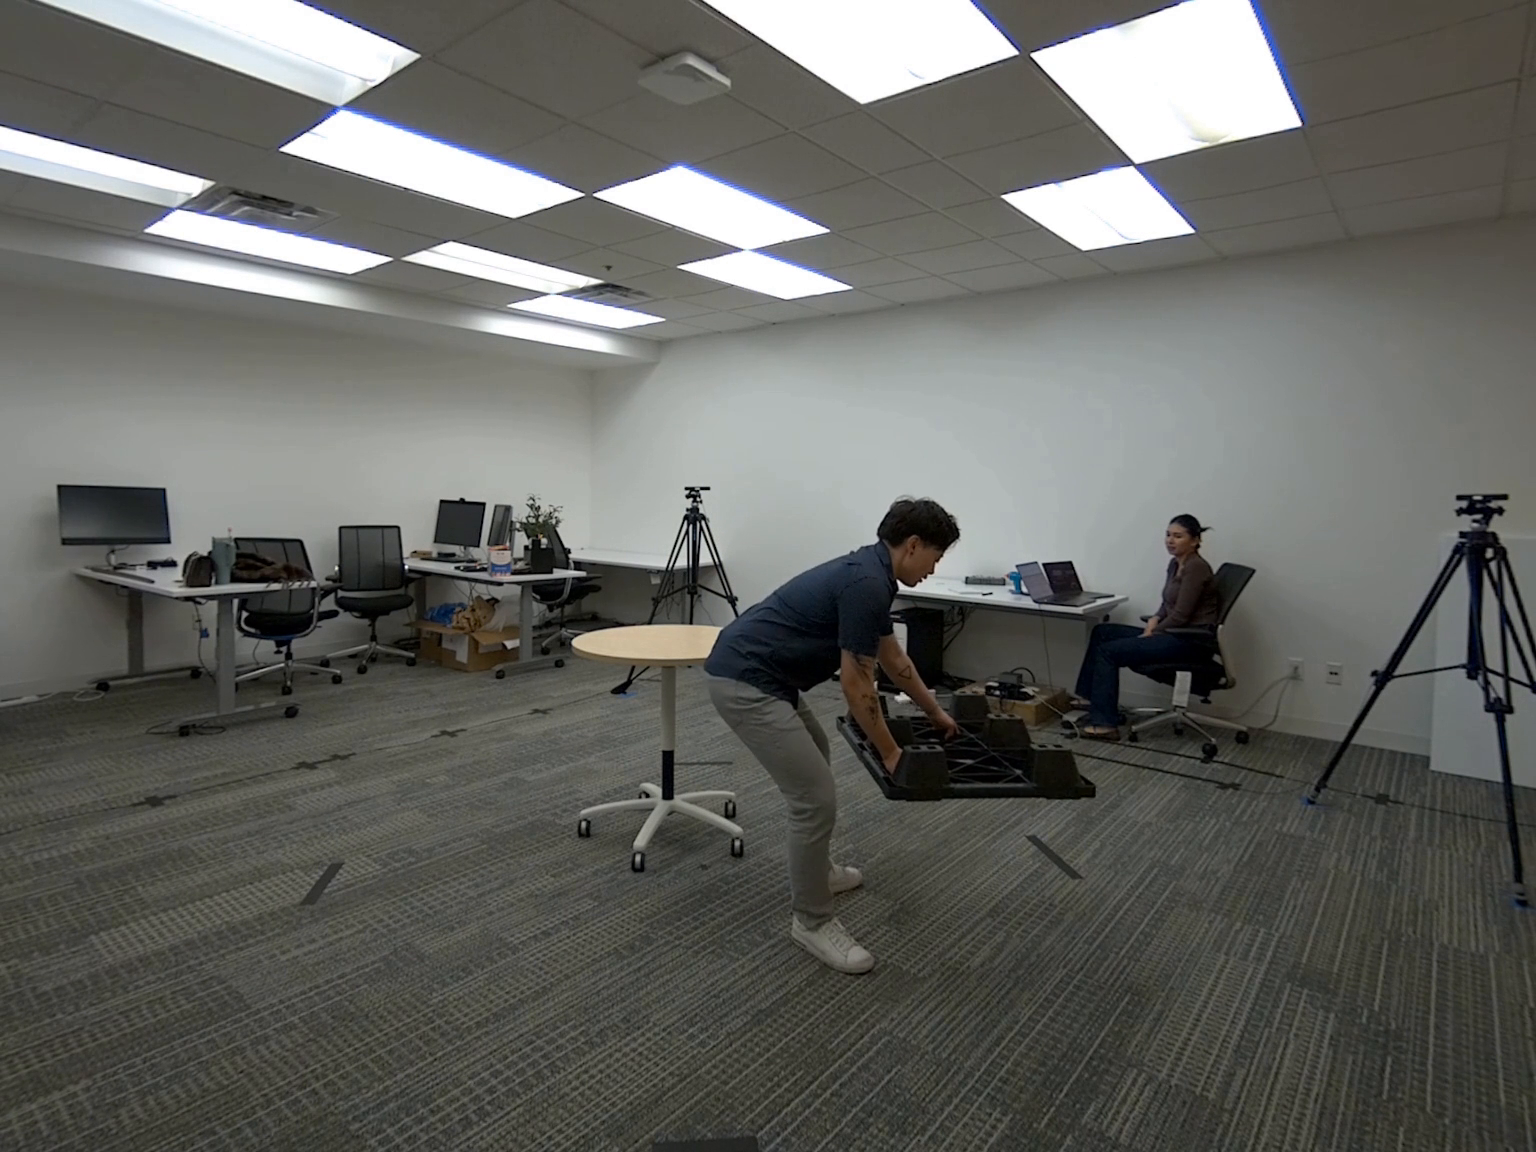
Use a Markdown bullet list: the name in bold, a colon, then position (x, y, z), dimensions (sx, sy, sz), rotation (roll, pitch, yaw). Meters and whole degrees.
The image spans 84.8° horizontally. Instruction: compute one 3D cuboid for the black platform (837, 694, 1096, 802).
- **black platform**: position (0.593, 0.531, 2.766), dimensions (0.603, 0.143, 0.812), rotation (0, 5, -5)
